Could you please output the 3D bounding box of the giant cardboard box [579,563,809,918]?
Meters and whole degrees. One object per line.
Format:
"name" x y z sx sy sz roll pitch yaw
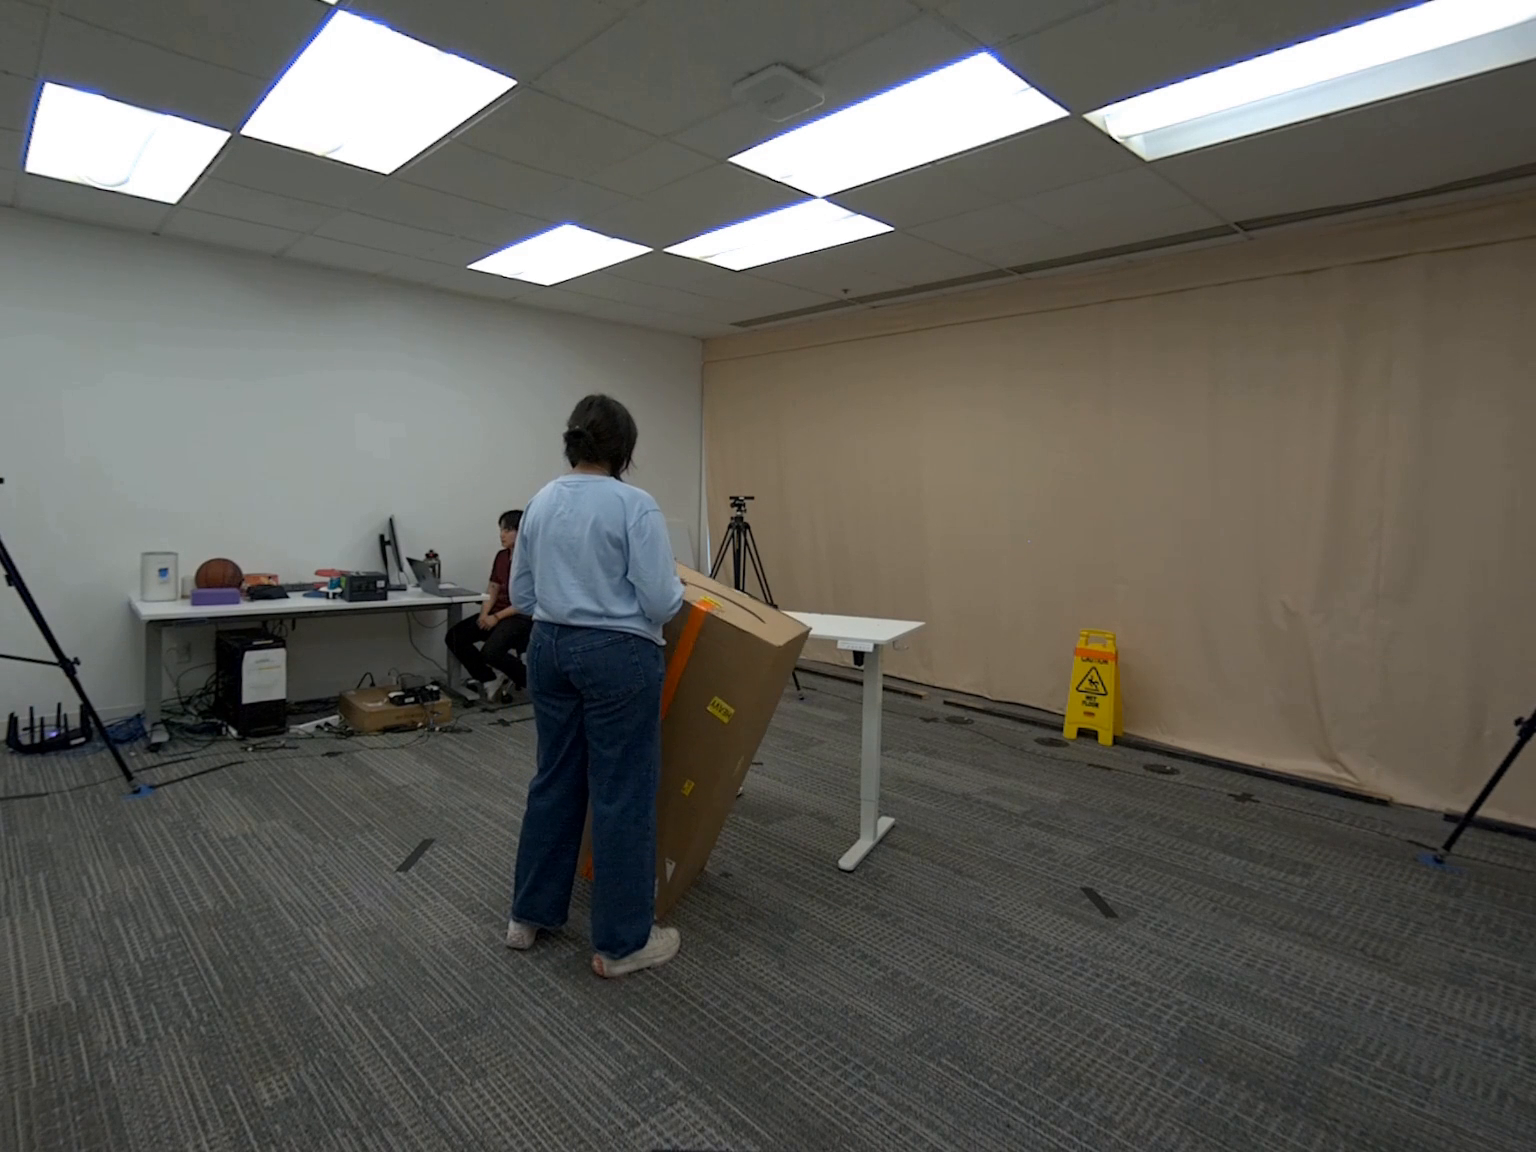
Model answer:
"giant cardboard box" -0.353 0.542 2.934 0.587 1.022 0.421 26 11 15
